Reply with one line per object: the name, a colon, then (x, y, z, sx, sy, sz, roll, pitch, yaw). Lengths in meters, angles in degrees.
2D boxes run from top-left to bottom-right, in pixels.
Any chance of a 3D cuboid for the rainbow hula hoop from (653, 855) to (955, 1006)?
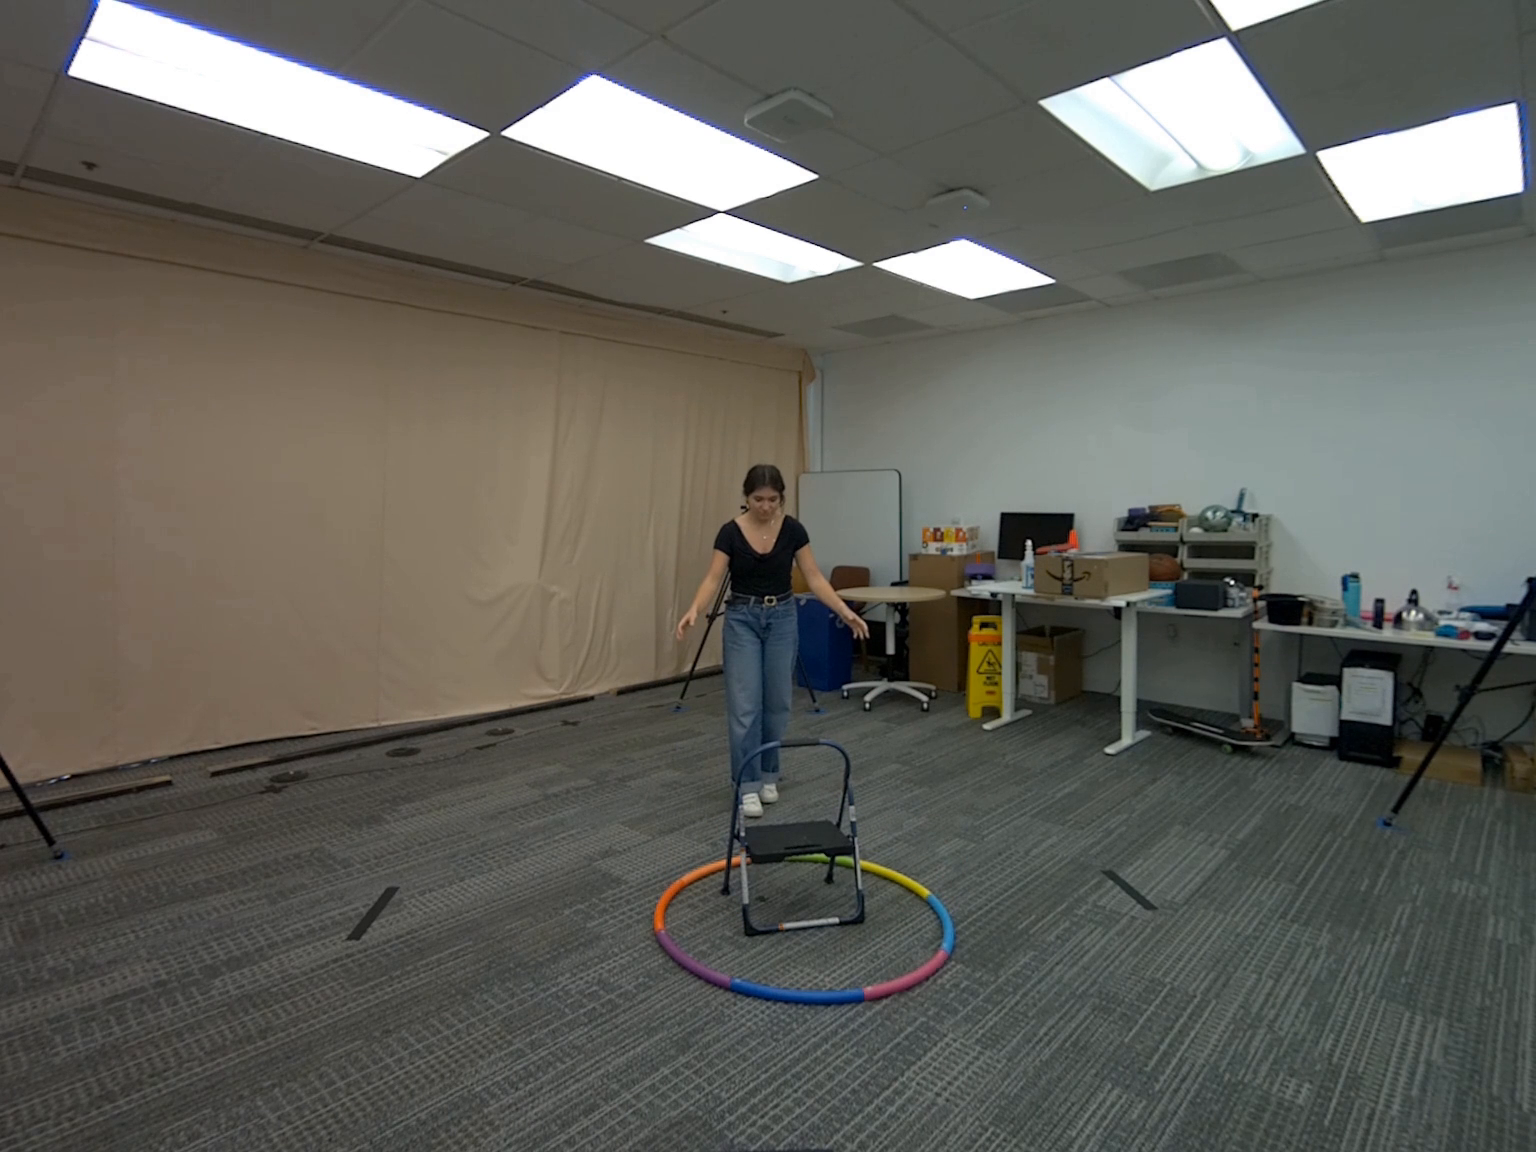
rainbow hula hoop: (0.120, 1.118, 2.830, 0.978, 0.035, 0.983, -1, 6, -2)
